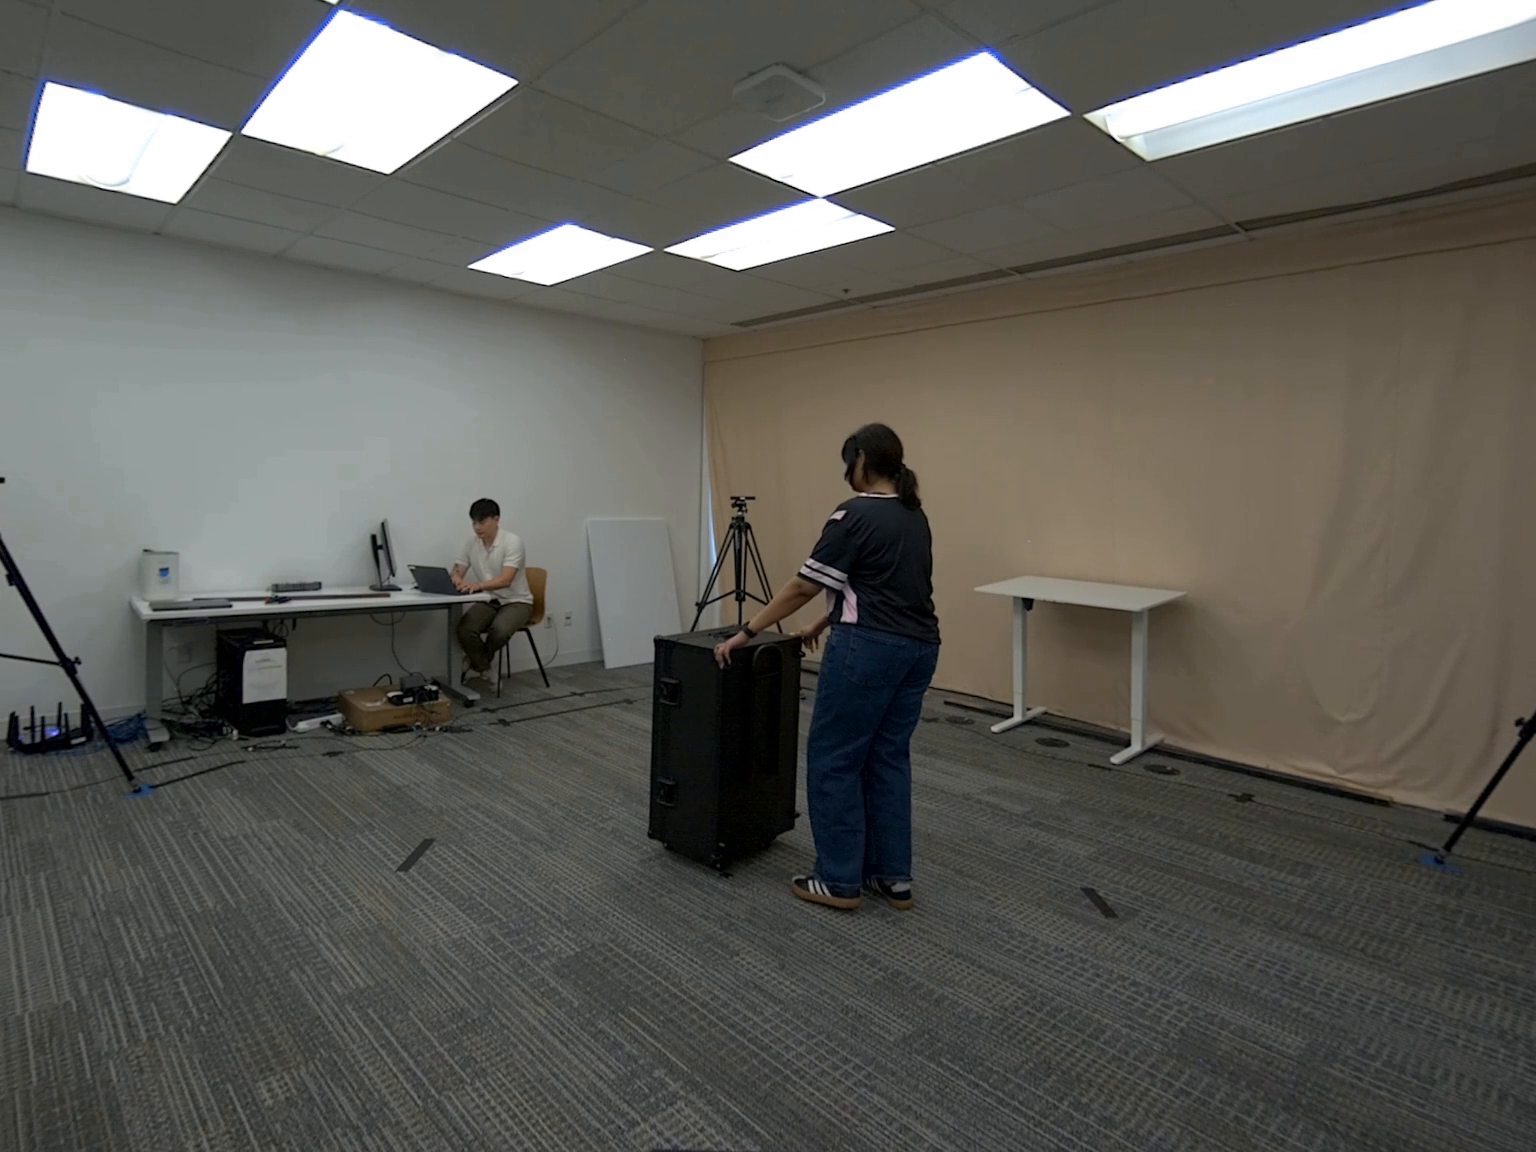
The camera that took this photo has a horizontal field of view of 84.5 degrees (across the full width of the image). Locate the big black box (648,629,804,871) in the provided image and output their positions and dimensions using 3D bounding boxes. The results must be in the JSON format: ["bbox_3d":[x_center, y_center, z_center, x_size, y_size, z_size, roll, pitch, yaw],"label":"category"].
[{"bbox_3d":[-0.163,0.664,3.310,0.395,0.866,0.512,5,5,38],"label":"big black box"}]
